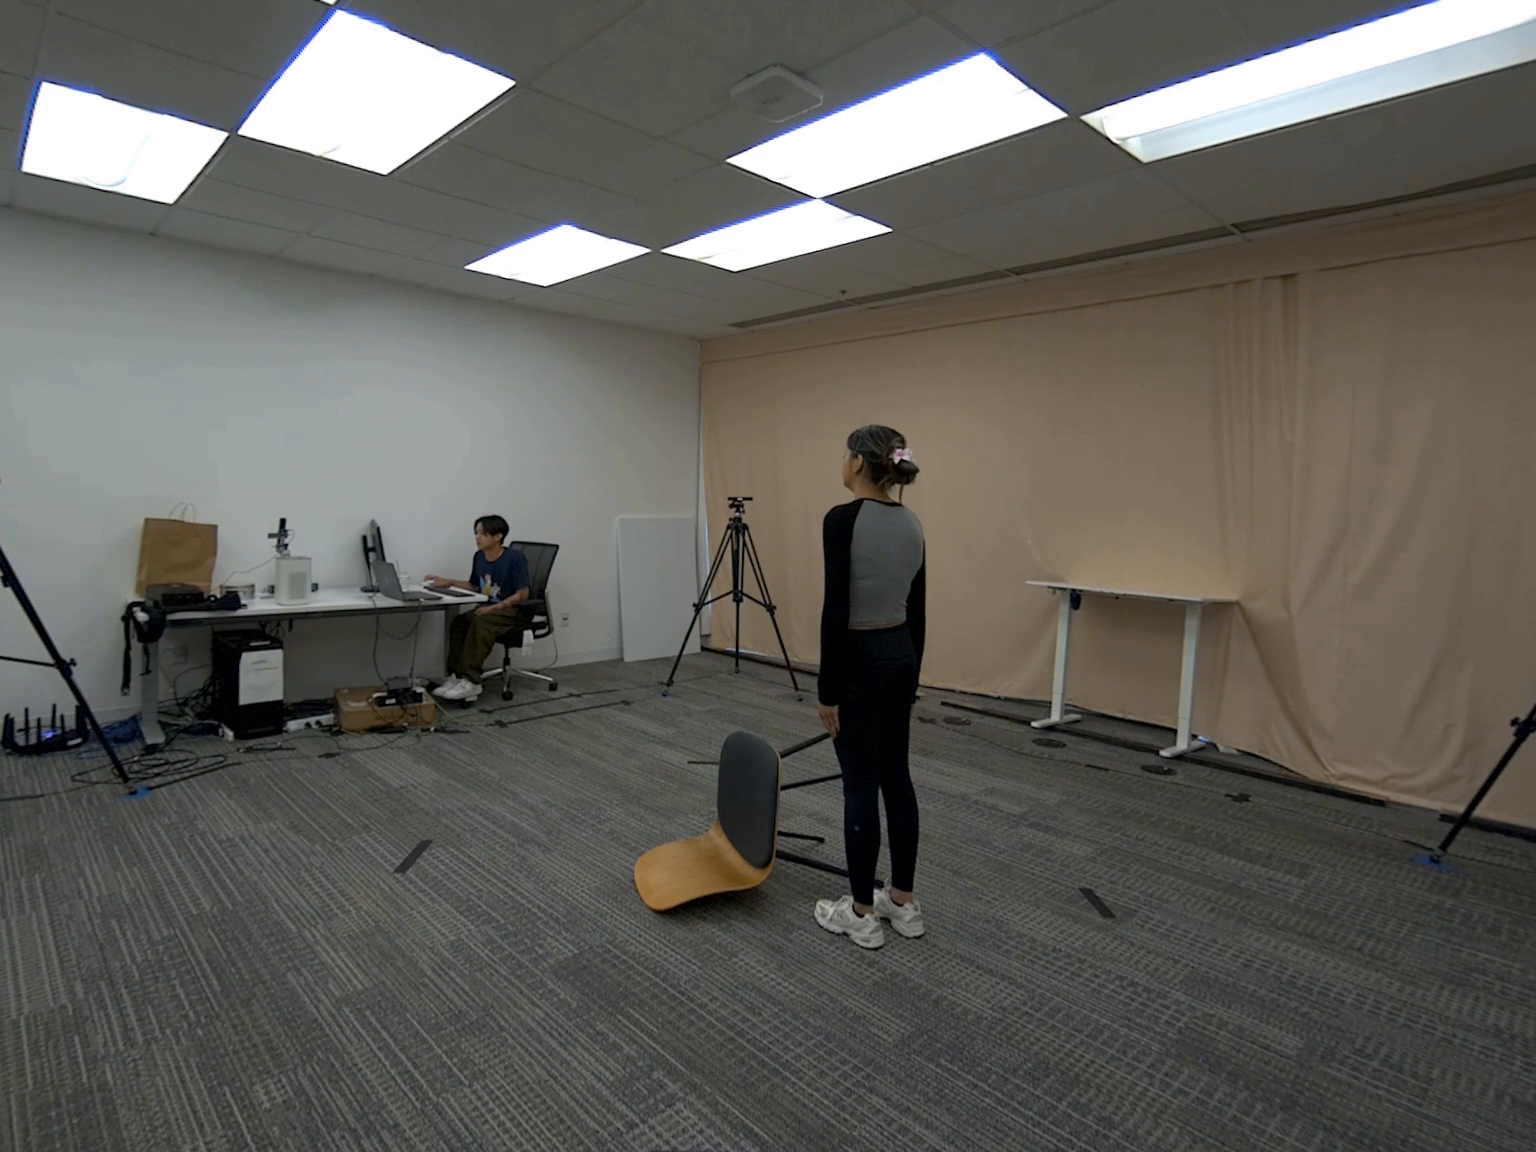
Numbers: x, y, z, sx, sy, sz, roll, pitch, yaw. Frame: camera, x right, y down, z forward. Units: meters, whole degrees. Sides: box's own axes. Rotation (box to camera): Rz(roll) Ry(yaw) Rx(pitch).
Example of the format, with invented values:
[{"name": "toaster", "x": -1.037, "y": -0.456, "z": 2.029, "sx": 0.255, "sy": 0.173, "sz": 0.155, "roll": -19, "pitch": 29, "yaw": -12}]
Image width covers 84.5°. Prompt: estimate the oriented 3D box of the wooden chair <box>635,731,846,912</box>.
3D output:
[{"name": "wooden chair", "x": -0.042, "y": 0.852, "z": 3.062, "sx": 0.862, "sy": 0.522, "sz": 0.488, "roll": -2, "pitch": 5, "yaw": -25}]
